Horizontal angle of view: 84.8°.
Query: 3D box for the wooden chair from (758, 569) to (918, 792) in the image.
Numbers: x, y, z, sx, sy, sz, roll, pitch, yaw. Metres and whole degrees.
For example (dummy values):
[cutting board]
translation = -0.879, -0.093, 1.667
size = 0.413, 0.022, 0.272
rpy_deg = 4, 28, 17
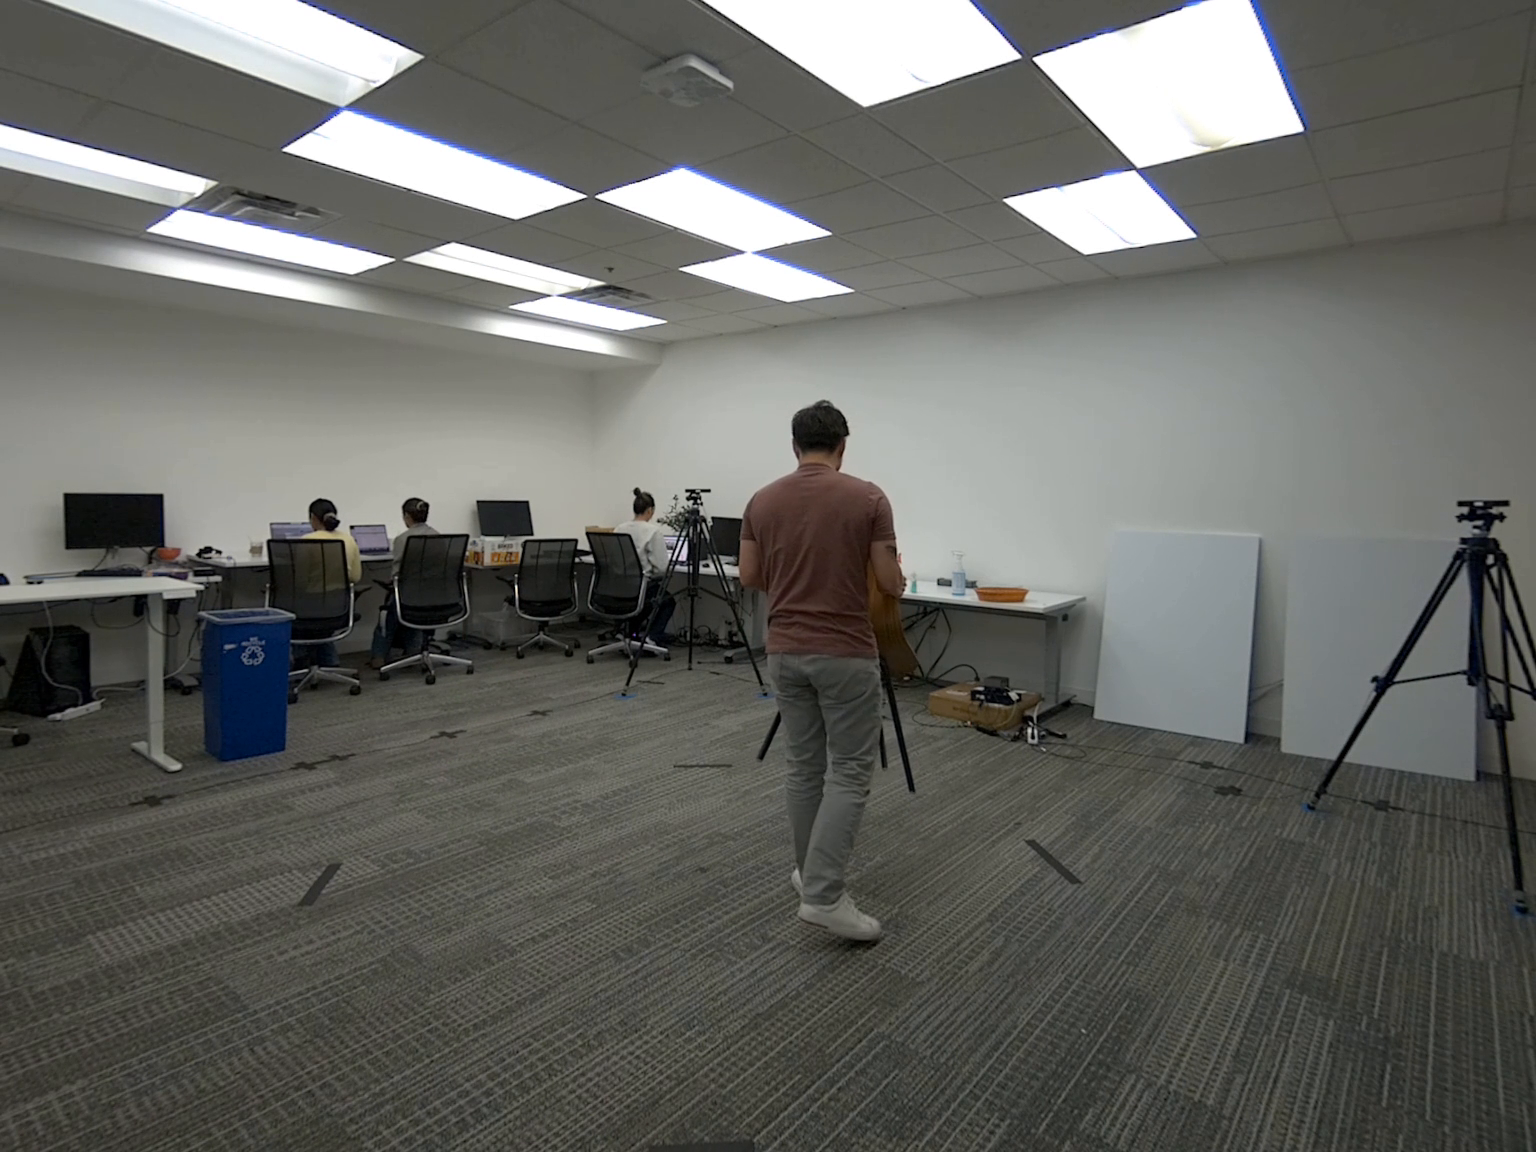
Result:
[wooden chair]
translation = 0.284, 0.312, 3.163
size = 0.488, 0.891, 0.504
rpy_deg = -4, -20, 22
